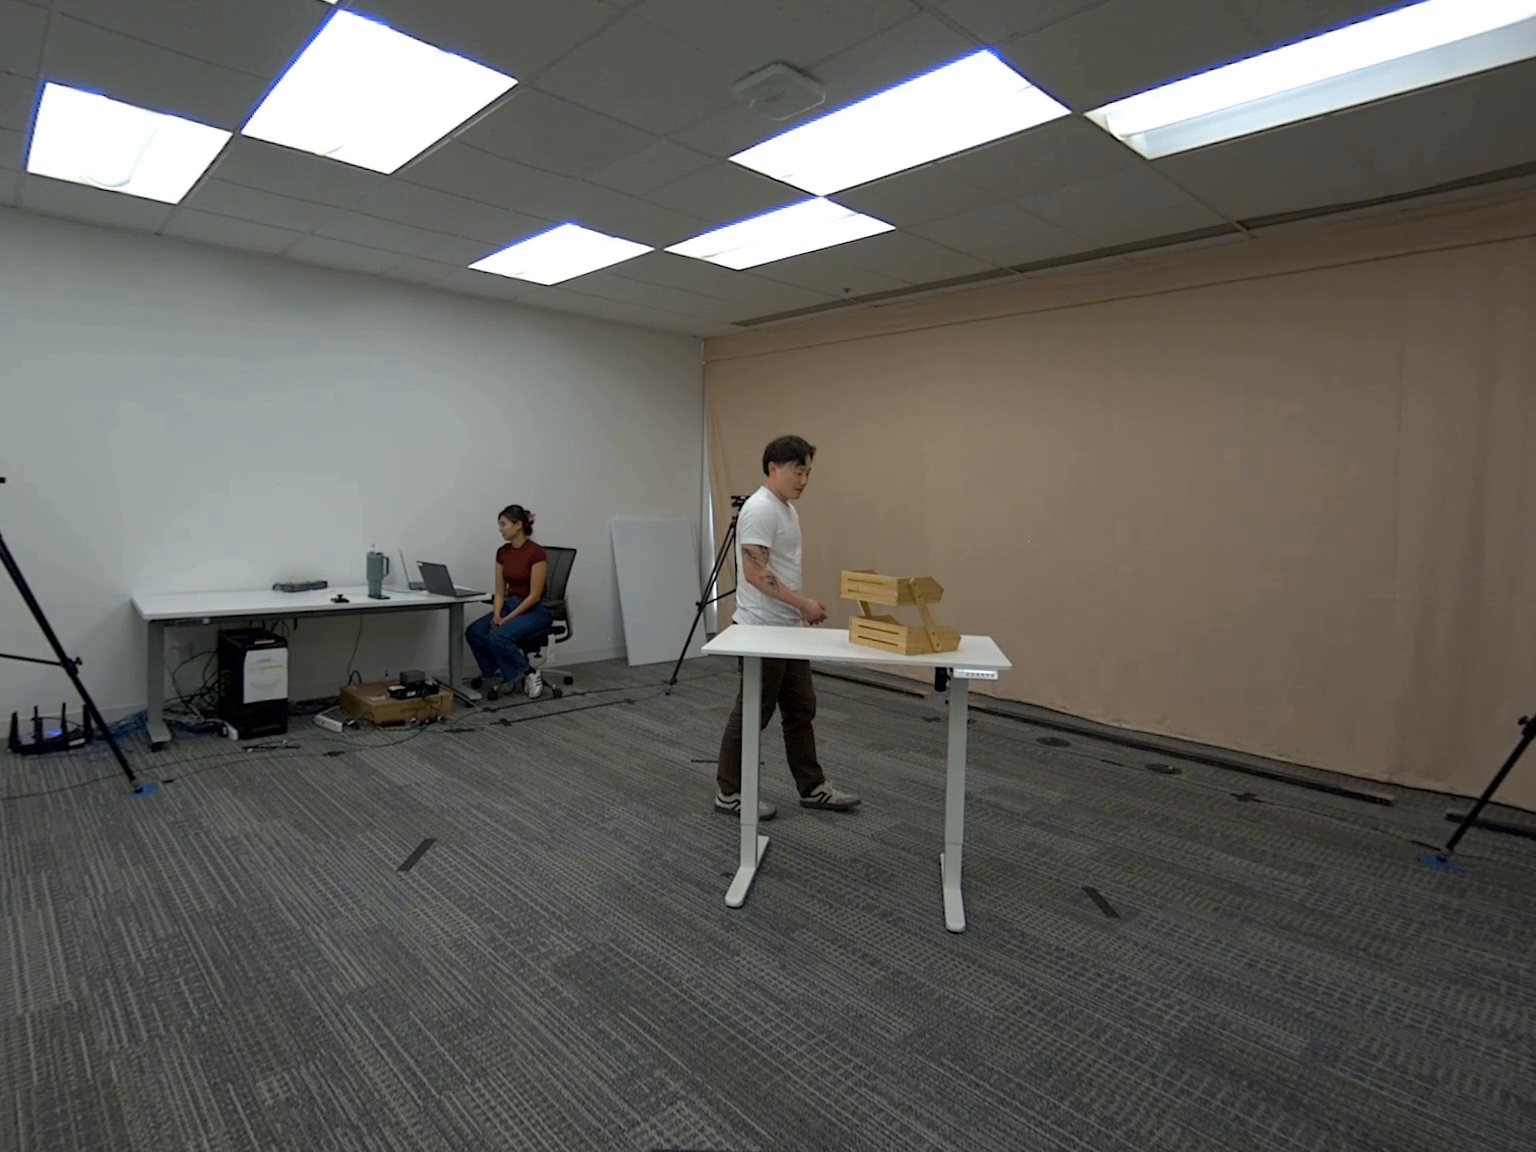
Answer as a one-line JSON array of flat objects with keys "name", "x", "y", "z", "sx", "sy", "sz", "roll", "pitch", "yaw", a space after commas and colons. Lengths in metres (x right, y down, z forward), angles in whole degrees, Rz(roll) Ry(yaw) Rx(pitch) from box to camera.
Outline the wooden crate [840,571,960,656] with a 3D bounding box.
[{"name": "wooden crate", "x": 0.455, "y": 0.116, "z": 2.949, "sx": 0.296, "sy": 0.272, "sz": 0.332, "roll": -2, "pitch": 5, "yaw": -33}]
